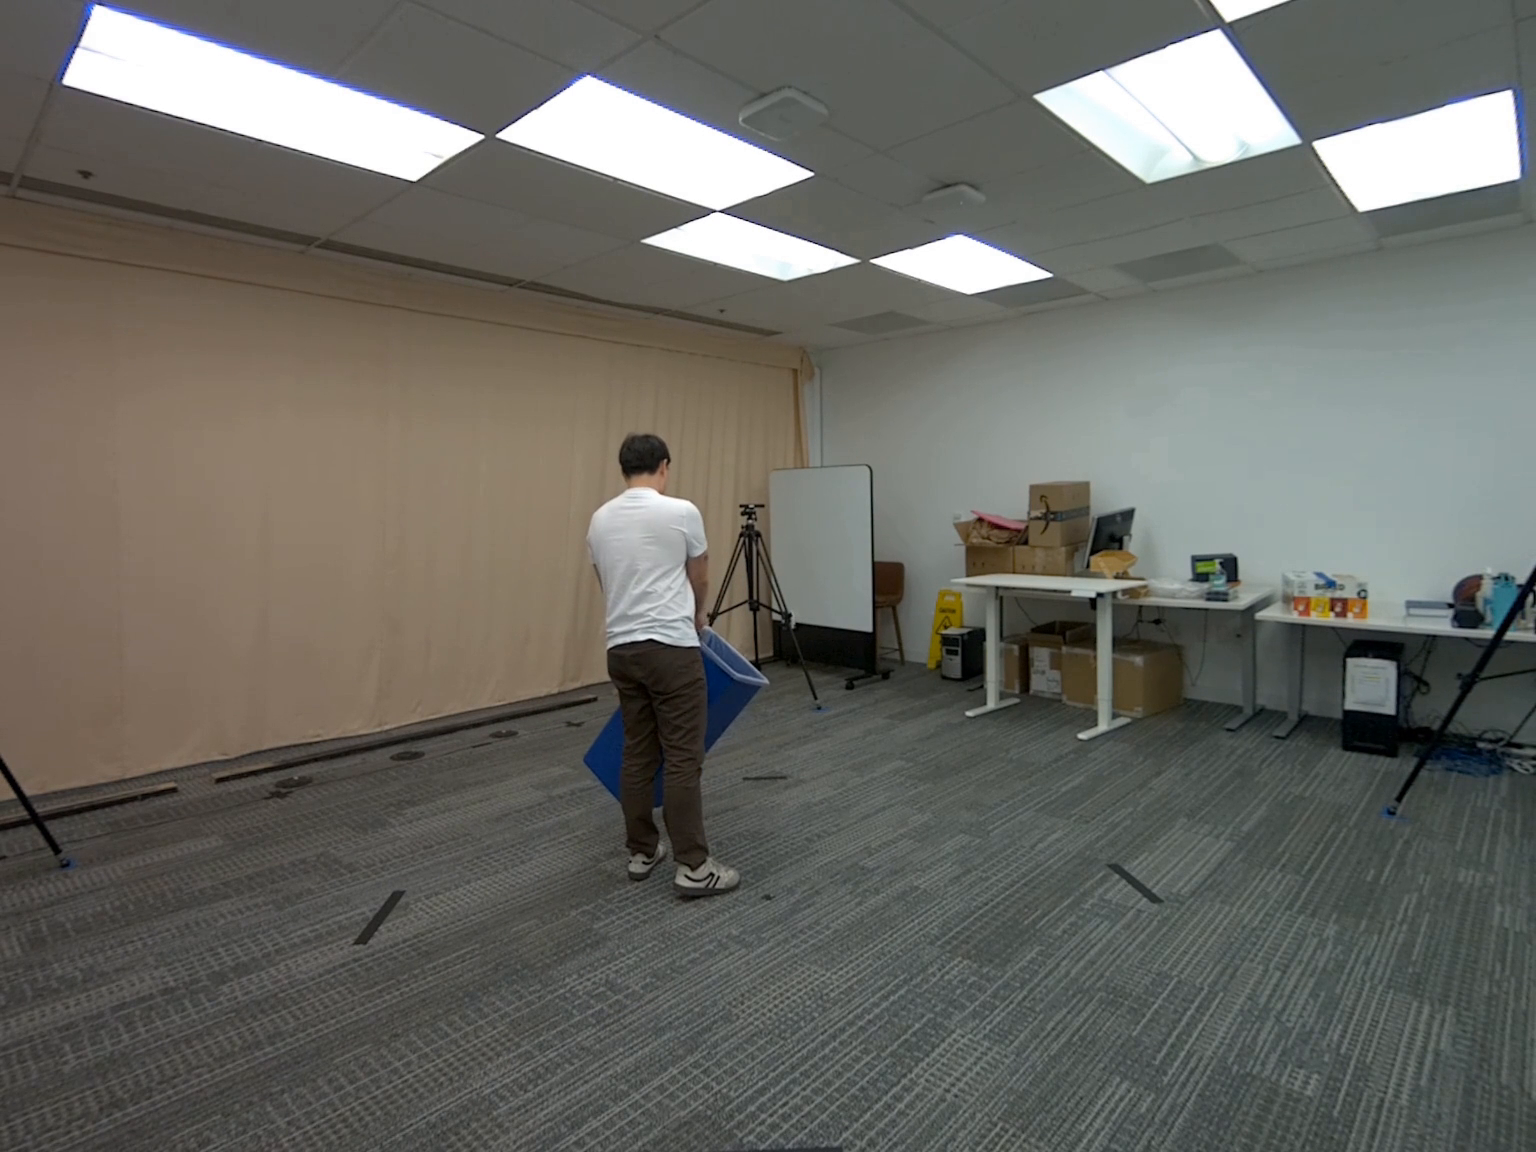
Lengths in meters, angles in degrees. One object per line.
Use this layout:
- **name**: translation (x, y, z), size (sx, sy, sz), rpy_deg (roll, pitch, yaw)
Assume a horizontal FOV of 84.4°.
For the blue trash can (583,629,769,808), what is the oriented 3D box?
- **blue trash can**: translation (-0.387, 0.592, 3.499), size (0.389, 0.714, 0.363), rpy_deg (39, 5, 25)
